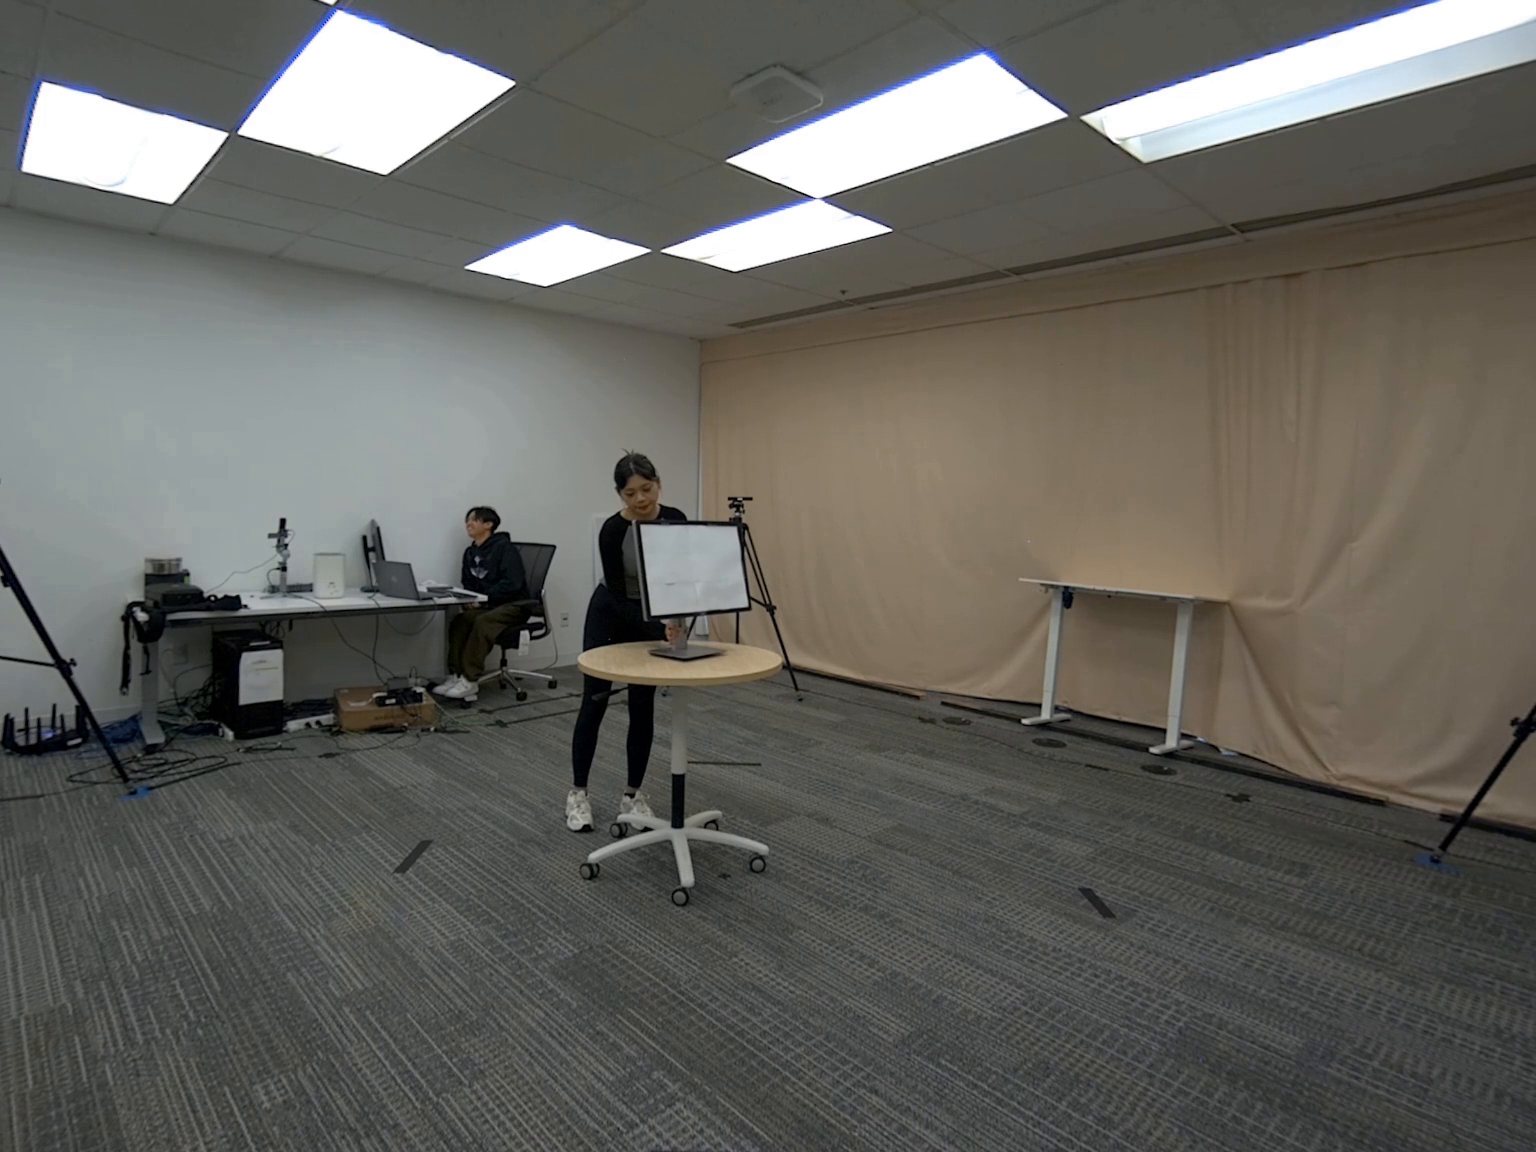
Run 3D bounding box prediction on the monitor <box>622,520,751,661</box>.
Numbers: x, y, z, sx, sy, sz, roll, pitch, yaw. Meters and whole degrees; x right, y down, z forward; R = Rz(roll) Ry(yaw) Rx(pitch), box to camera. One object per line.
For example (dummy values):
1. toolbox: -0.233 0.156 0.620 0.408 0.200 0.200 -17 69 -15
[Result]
1. monitor: -0.314 0.052 3.212 0.192 0.521 0.527 4 4 38
